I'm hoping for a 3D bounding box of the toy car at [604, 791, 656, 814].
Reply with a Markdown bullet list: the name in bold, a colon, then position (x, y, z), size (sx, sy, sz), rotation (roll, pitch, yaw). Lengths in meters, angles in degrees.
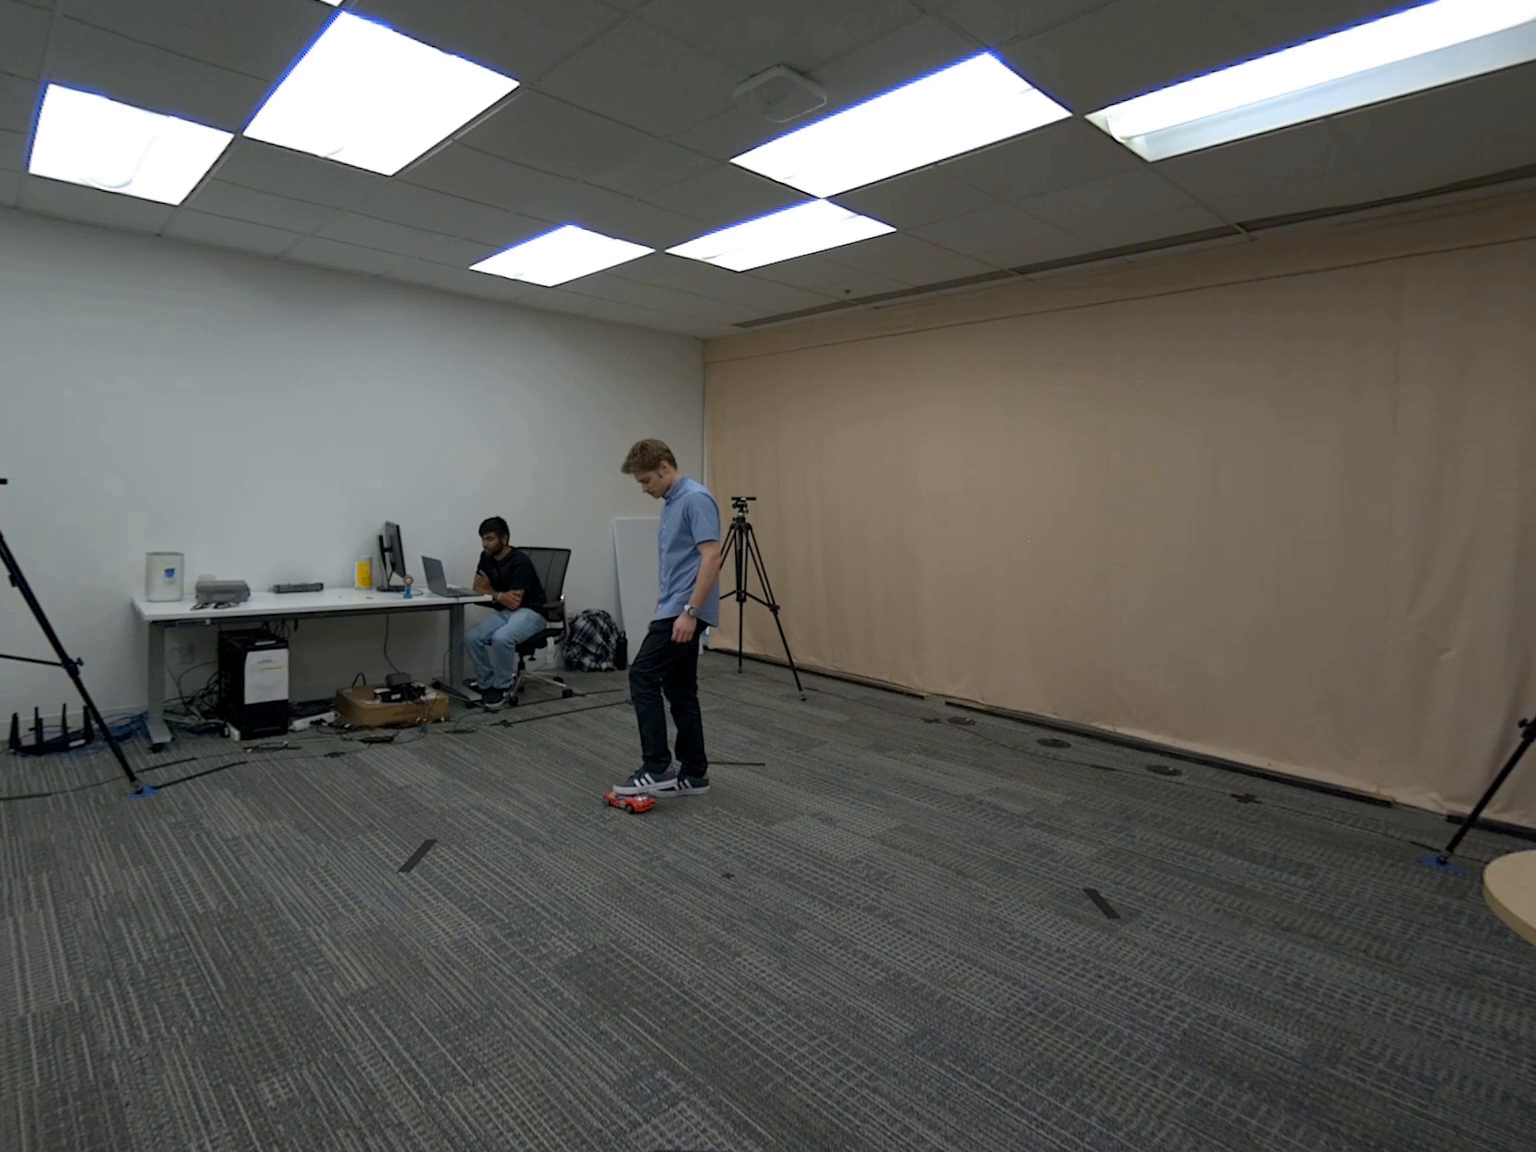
- **toy car**: position (-0.631, 1.010, 3.763), size (0.259, 0.083, 0.127), rotation (-8, -4, 35)
